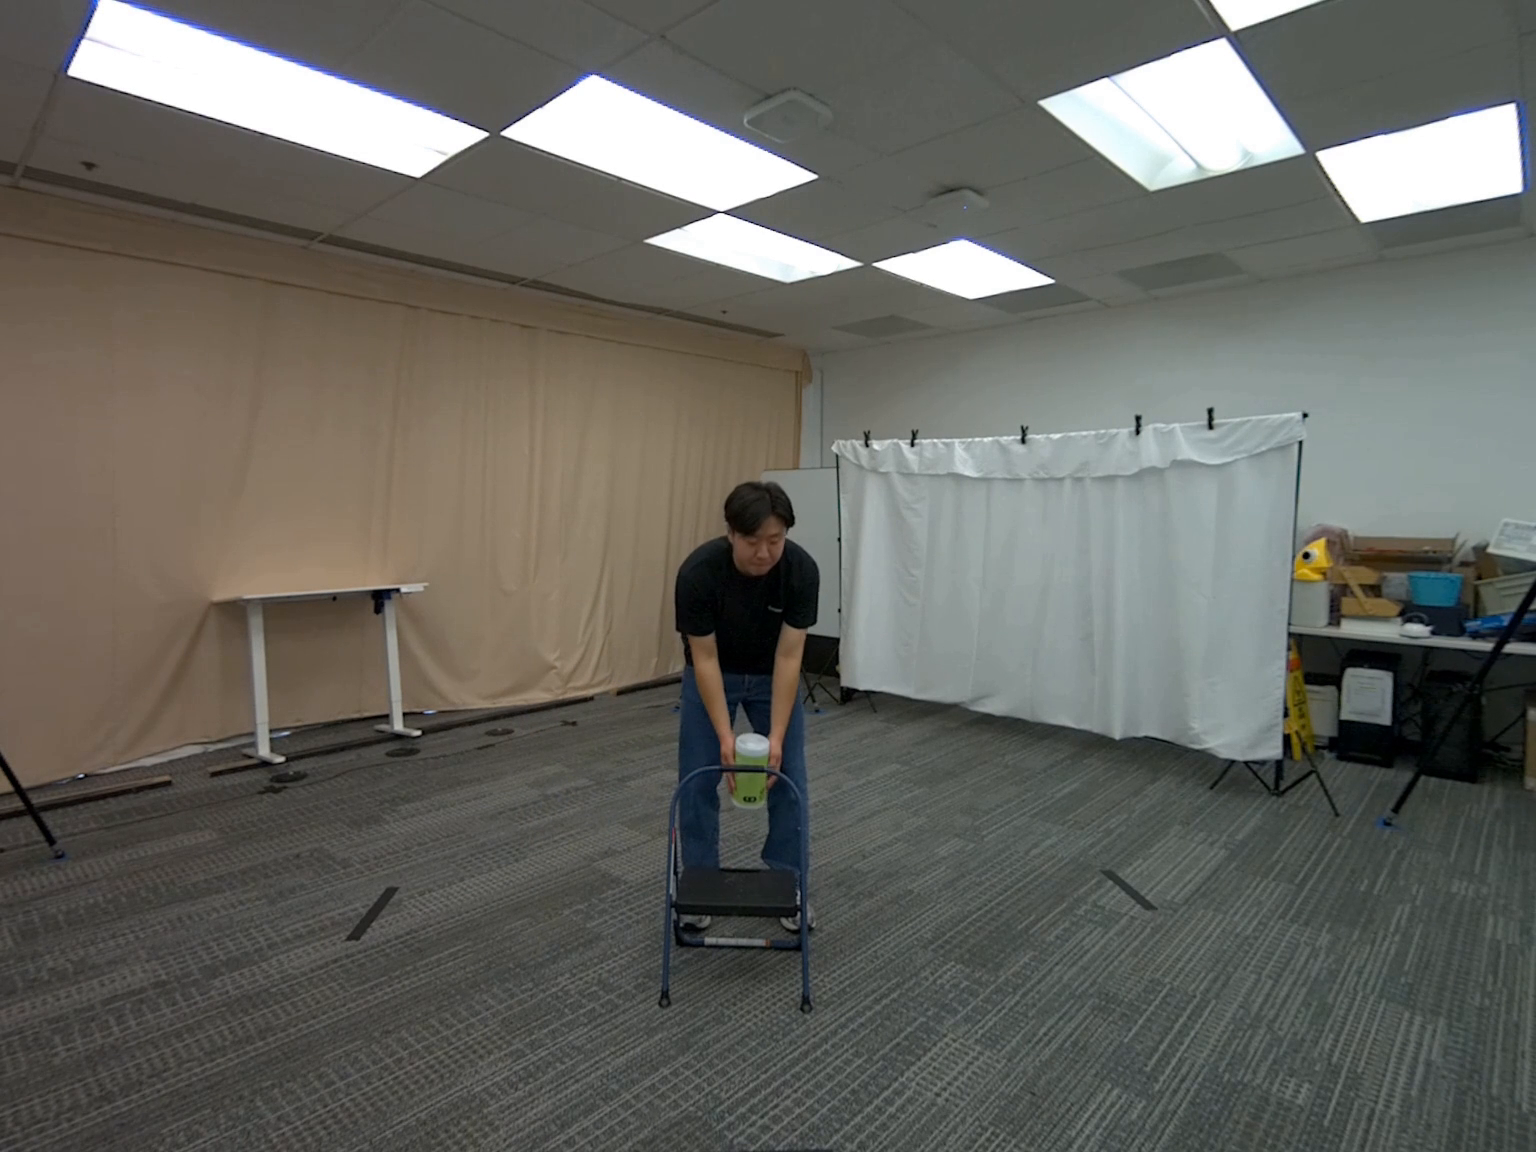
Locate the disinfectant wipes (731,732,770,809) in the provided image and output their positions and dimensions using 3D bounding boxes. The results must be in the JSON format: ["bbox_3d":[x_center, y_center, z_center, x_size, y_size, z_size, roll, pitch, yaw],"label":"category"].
[{"bbox_3d":[-0.044,0.621,2.678,0.117,0.215,0.119,3,15,-3],"label":"disinfectant wipes"}]
